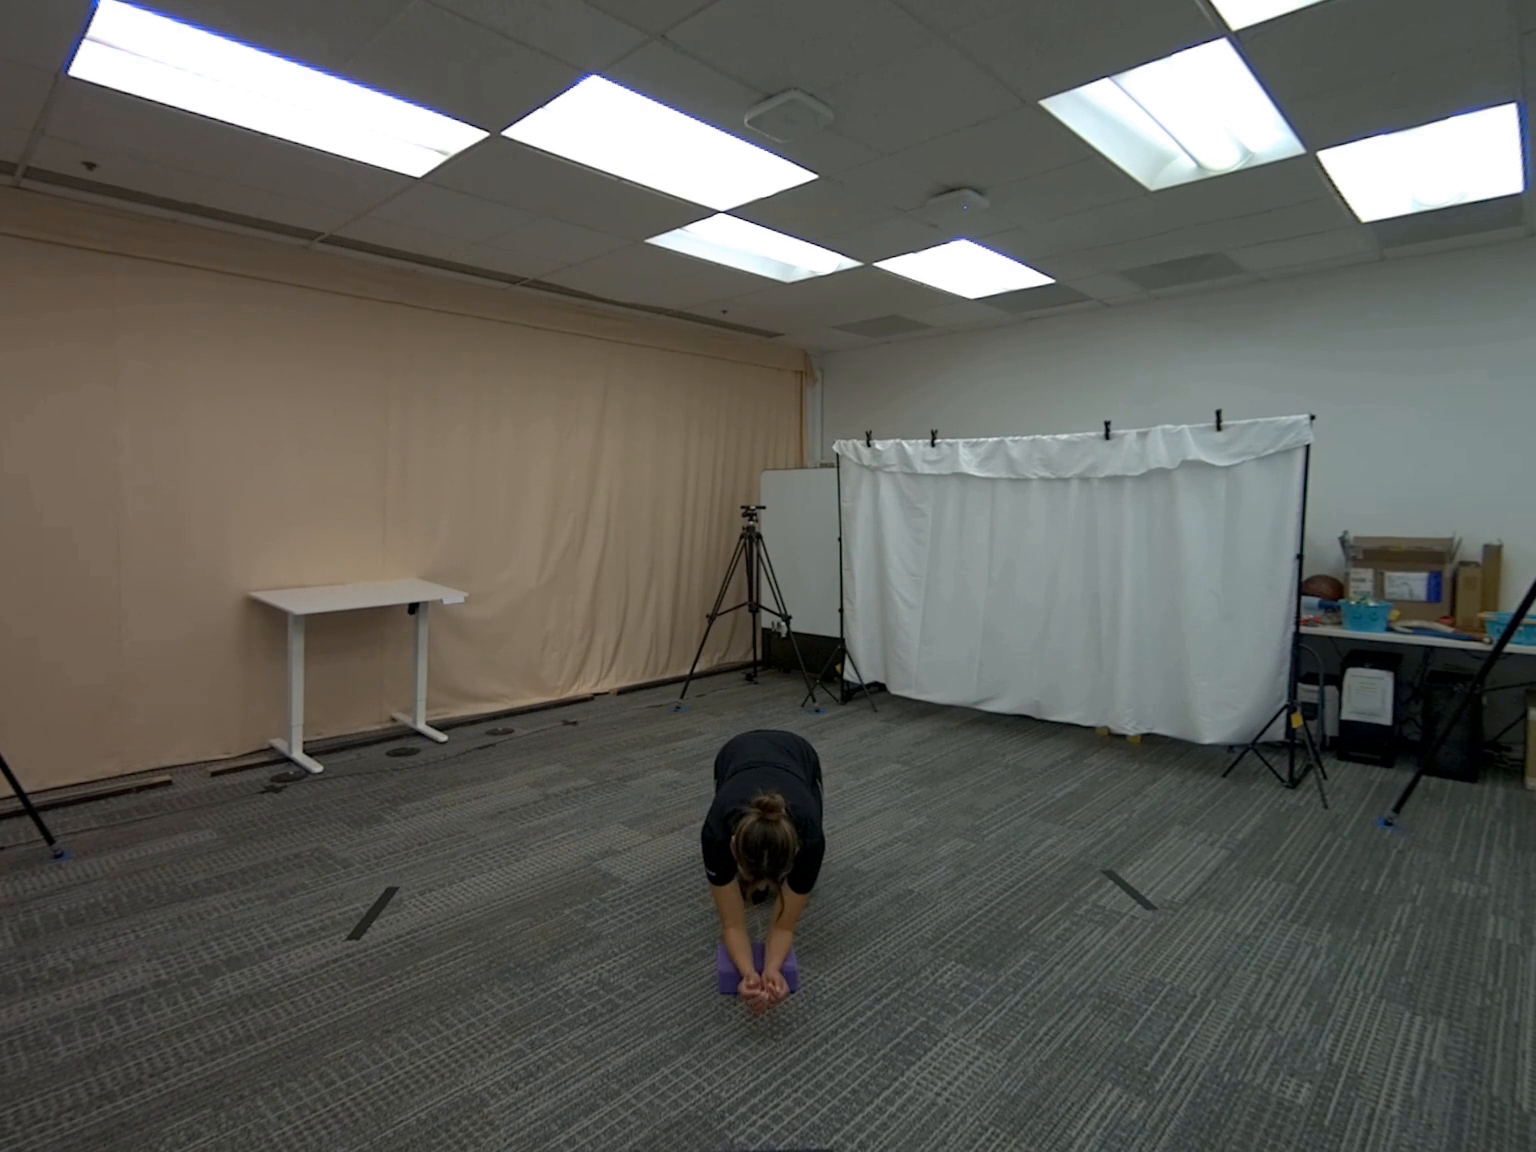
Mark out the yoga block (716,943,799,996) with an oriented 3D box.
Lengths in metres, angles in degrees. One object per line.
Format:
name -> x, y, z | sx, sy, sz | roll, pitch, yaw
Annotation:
yoga block -> -0.030, 1.141, 2.476 | 0.229, 0.076, 0.149 | 0, 6, -1
